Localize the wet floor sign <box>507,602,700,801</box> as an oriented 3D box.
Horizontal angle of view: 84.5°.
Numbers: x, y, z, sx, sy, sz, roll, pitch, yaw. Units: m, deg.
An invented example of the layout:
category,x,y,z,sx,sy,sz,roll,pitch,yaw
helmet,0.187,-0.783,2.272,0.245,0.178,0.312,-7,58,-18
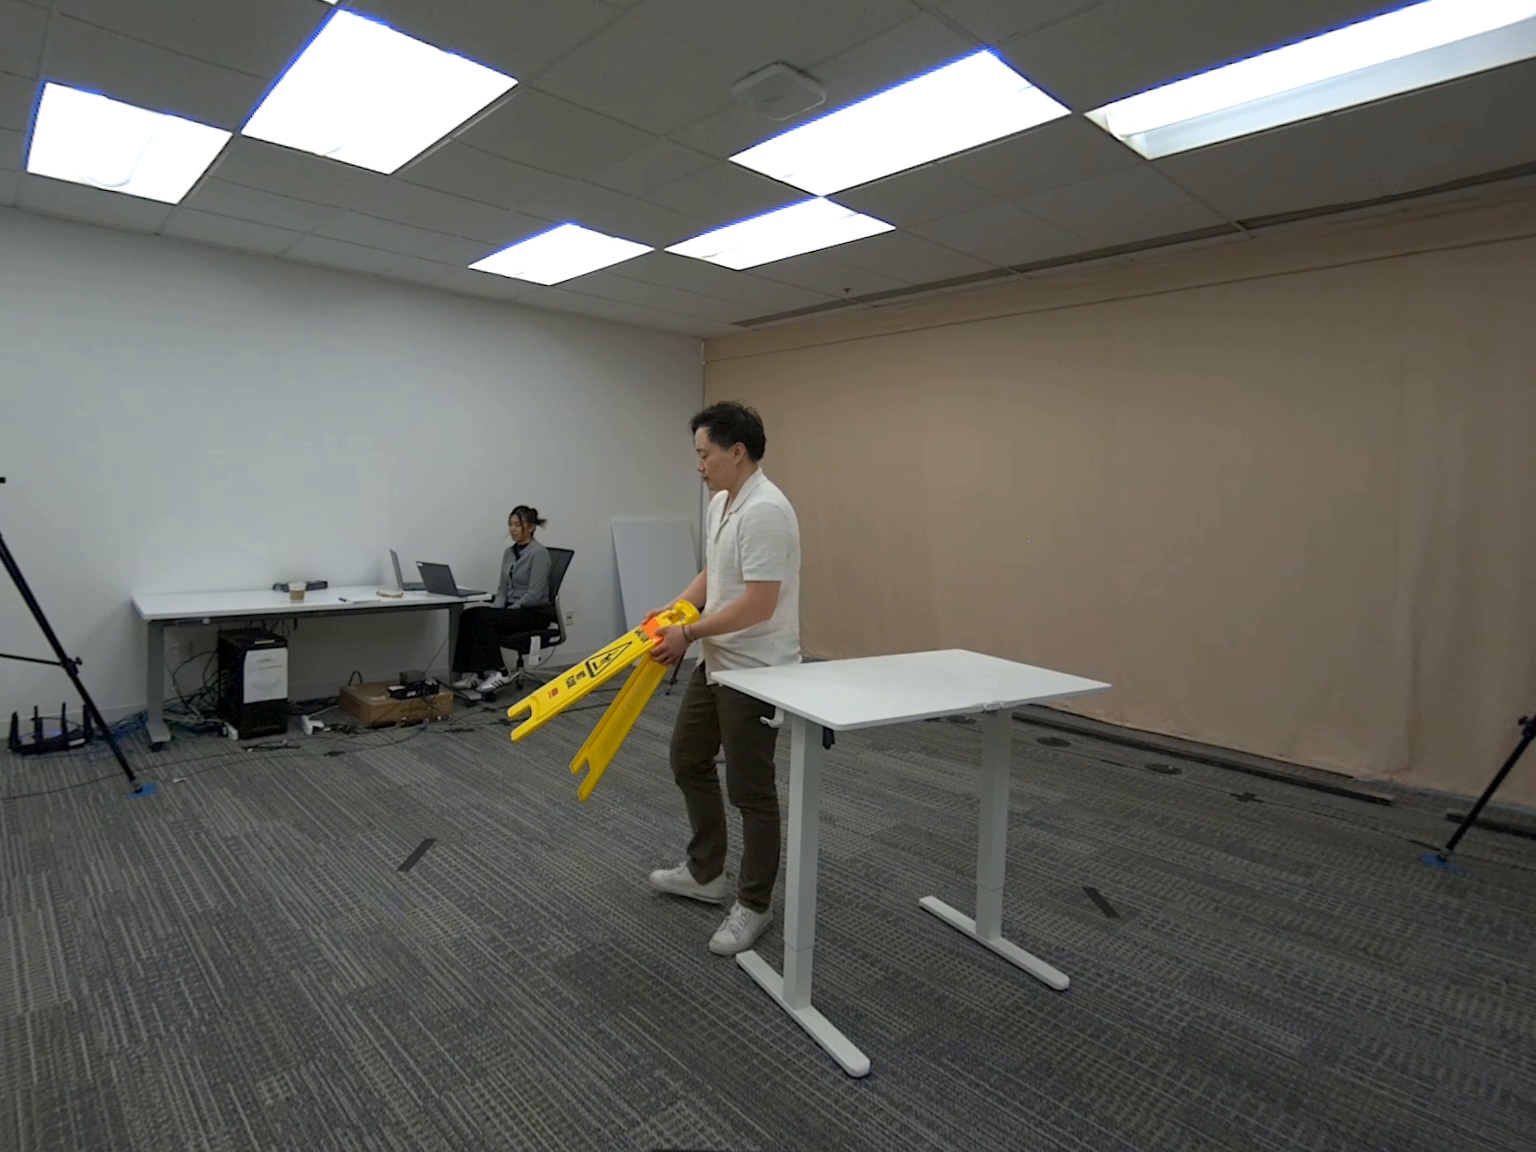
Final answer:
category,x,y,z,sx,sy,sz,roll,pitch,yaw
wet floor sign,-0.470,0.326,2.606,0.284,0.646,0.288,47,-6,-20
